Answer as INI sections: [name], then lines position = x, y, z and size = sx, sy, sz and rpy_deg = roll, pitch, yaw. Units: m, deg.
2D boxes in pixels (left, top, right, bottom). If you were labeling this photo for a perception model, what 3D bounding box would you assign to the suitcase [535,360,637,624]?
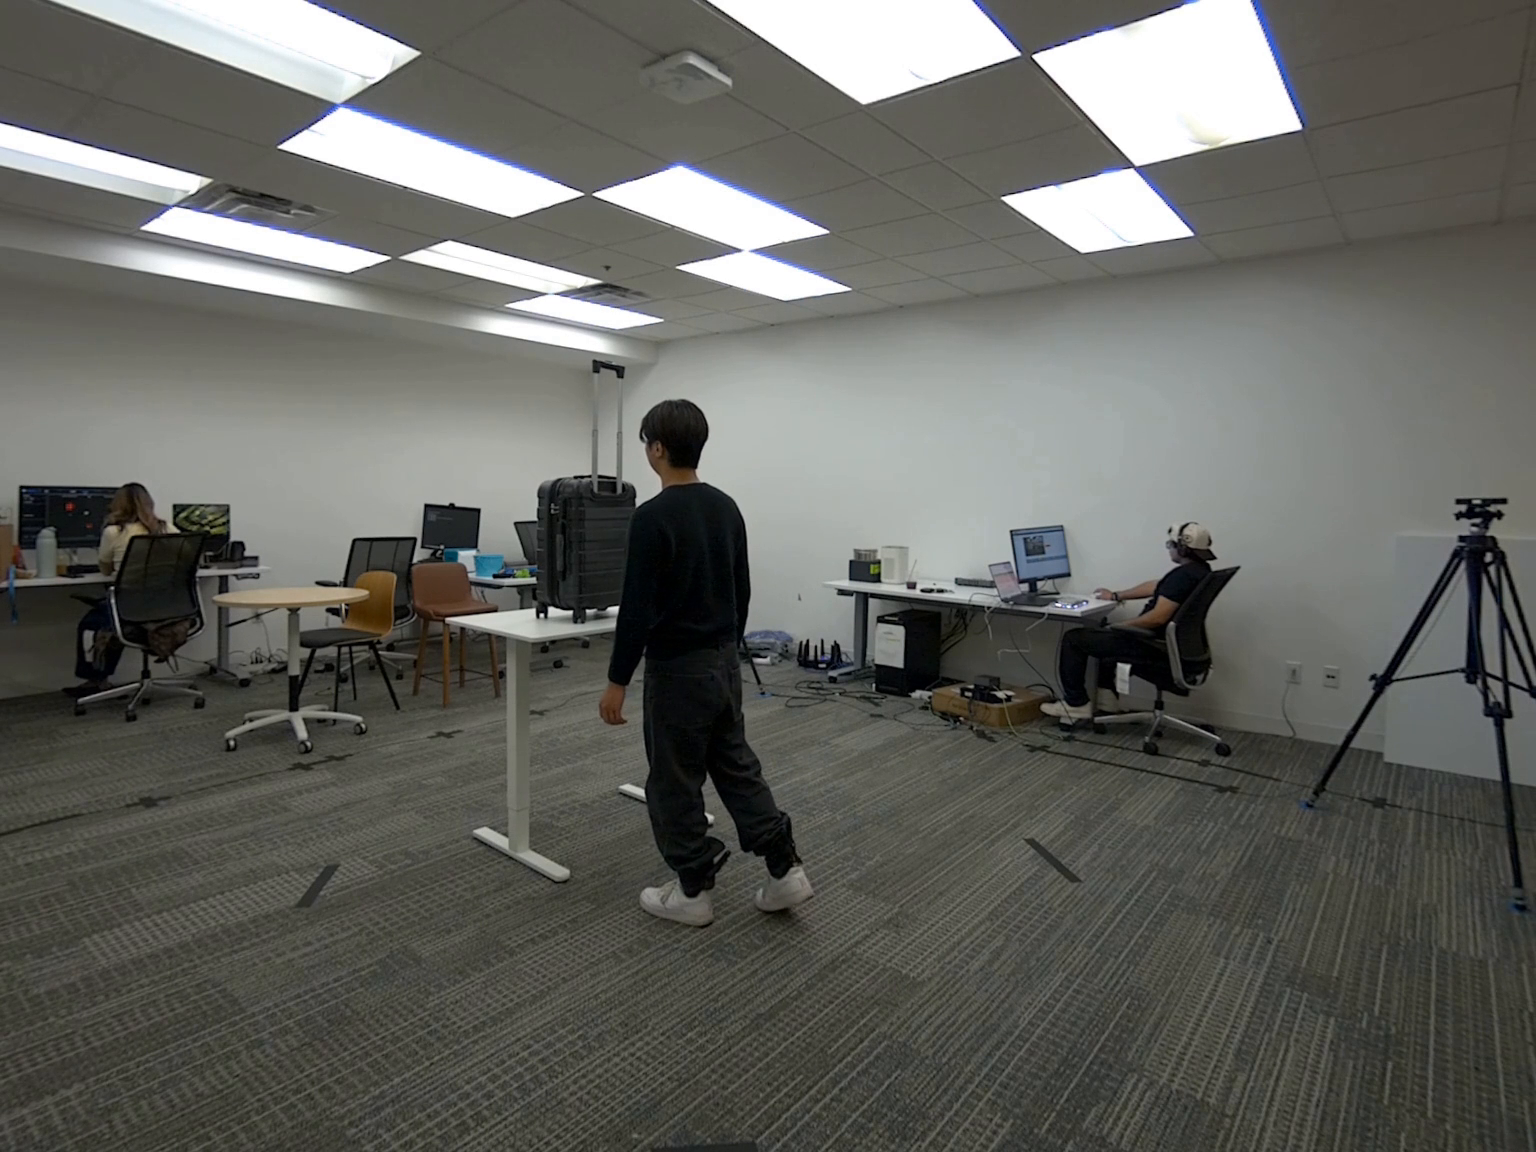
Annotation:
[suitcase]
position = -0.717, -0.322, 3.303
size = 0.265, 0.978, 0.372
rpy_deg = 0, 1, 40
